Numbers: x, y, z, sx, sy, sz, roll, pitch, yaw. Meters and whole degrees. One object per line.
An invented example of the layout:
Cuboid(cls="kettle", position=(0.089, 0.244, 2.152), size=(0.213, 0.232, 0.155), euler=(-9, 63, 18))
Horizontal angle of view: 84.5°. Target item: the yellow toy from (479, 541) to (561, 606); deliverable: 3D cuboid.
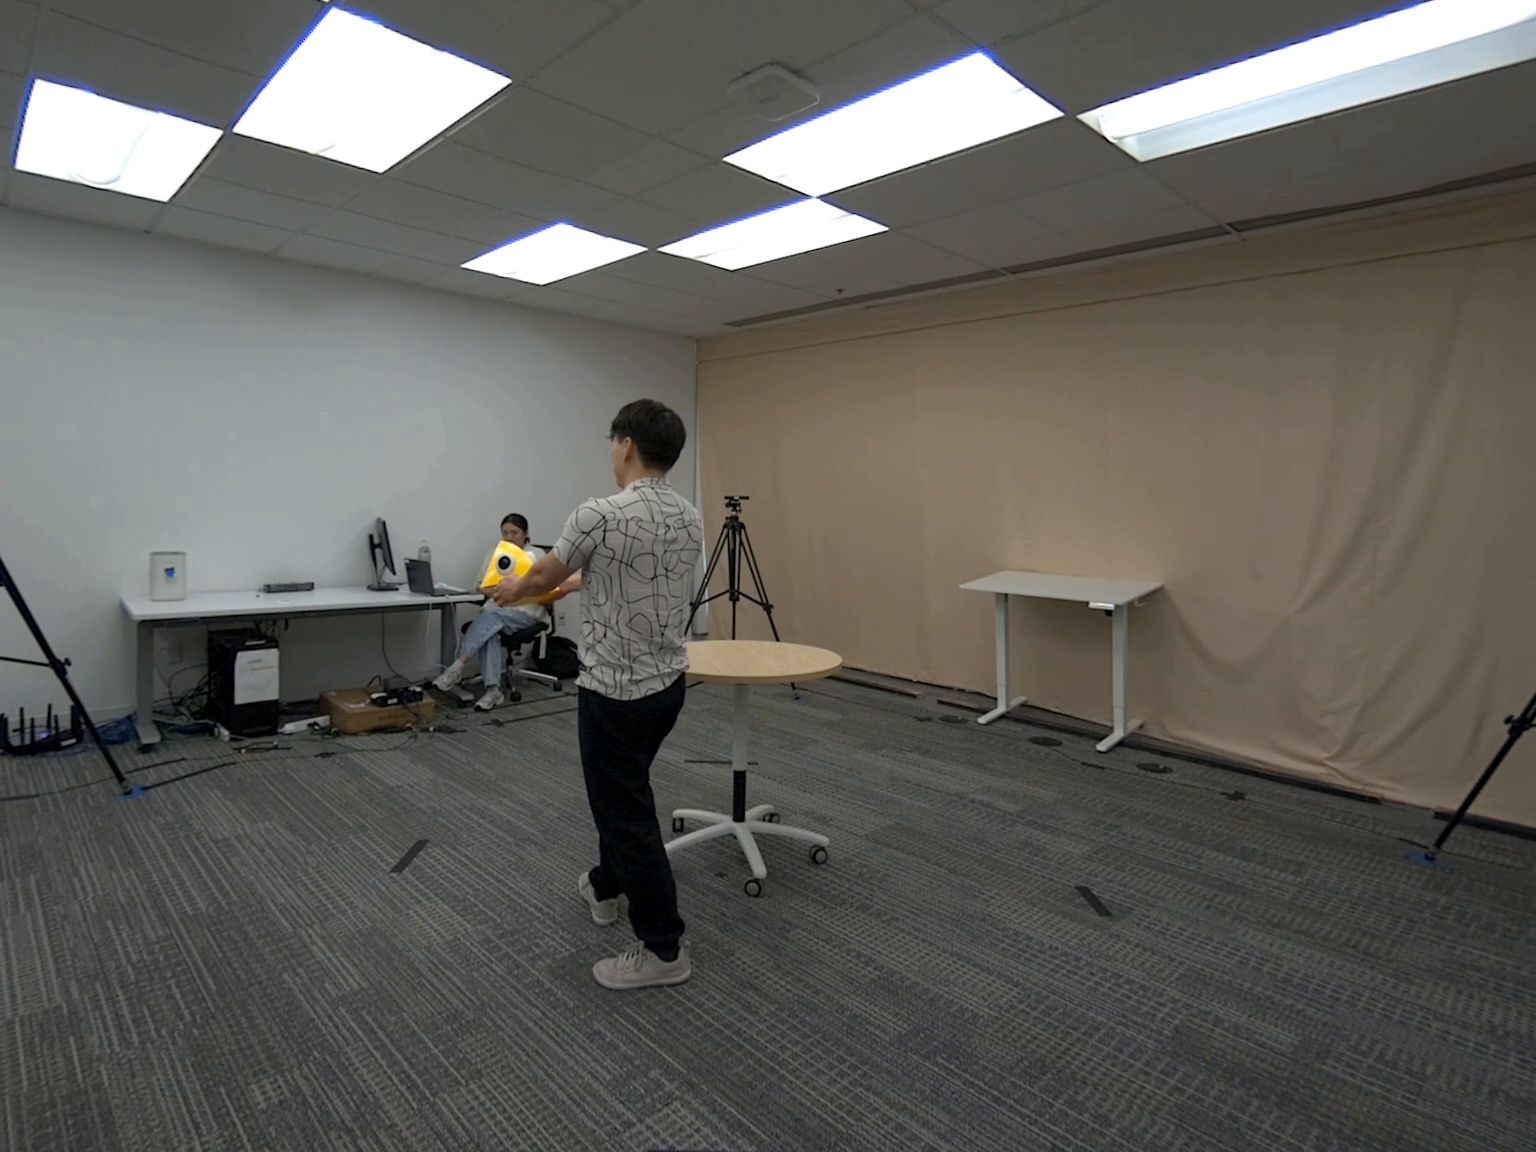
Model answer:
Cuboid(cls="yellow toy", position=(-0.835, -0.030, 2.813), size=(0.195, 0.233, 0.200), euler=(-24, -12, 35))
